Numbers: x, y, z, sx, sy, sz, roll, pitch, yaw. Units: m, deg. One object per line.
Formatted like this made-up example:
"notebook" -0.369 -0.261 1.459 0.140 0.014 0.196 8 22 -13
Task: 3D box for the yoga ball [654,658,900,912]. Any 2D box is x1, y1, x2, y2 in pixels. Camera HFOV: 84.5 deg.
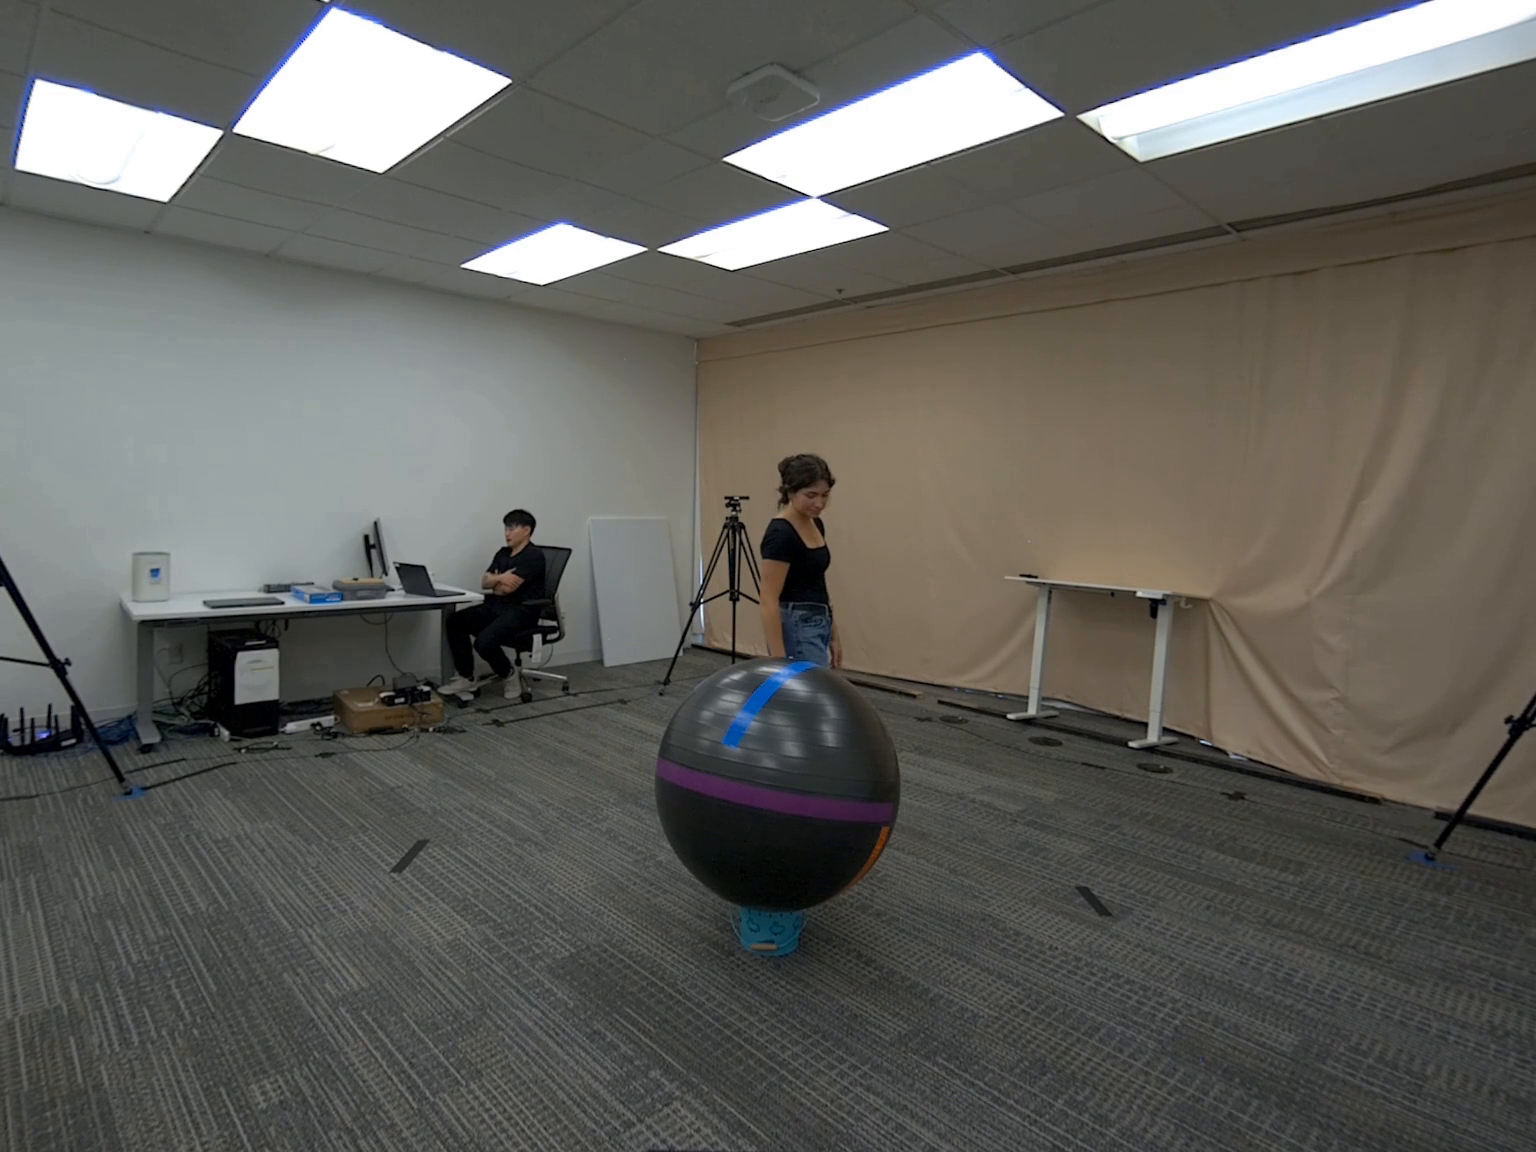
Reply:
"yoga ball" 0.023 0.642 2.621 0.757 0.756 0.761 1 4 -1
